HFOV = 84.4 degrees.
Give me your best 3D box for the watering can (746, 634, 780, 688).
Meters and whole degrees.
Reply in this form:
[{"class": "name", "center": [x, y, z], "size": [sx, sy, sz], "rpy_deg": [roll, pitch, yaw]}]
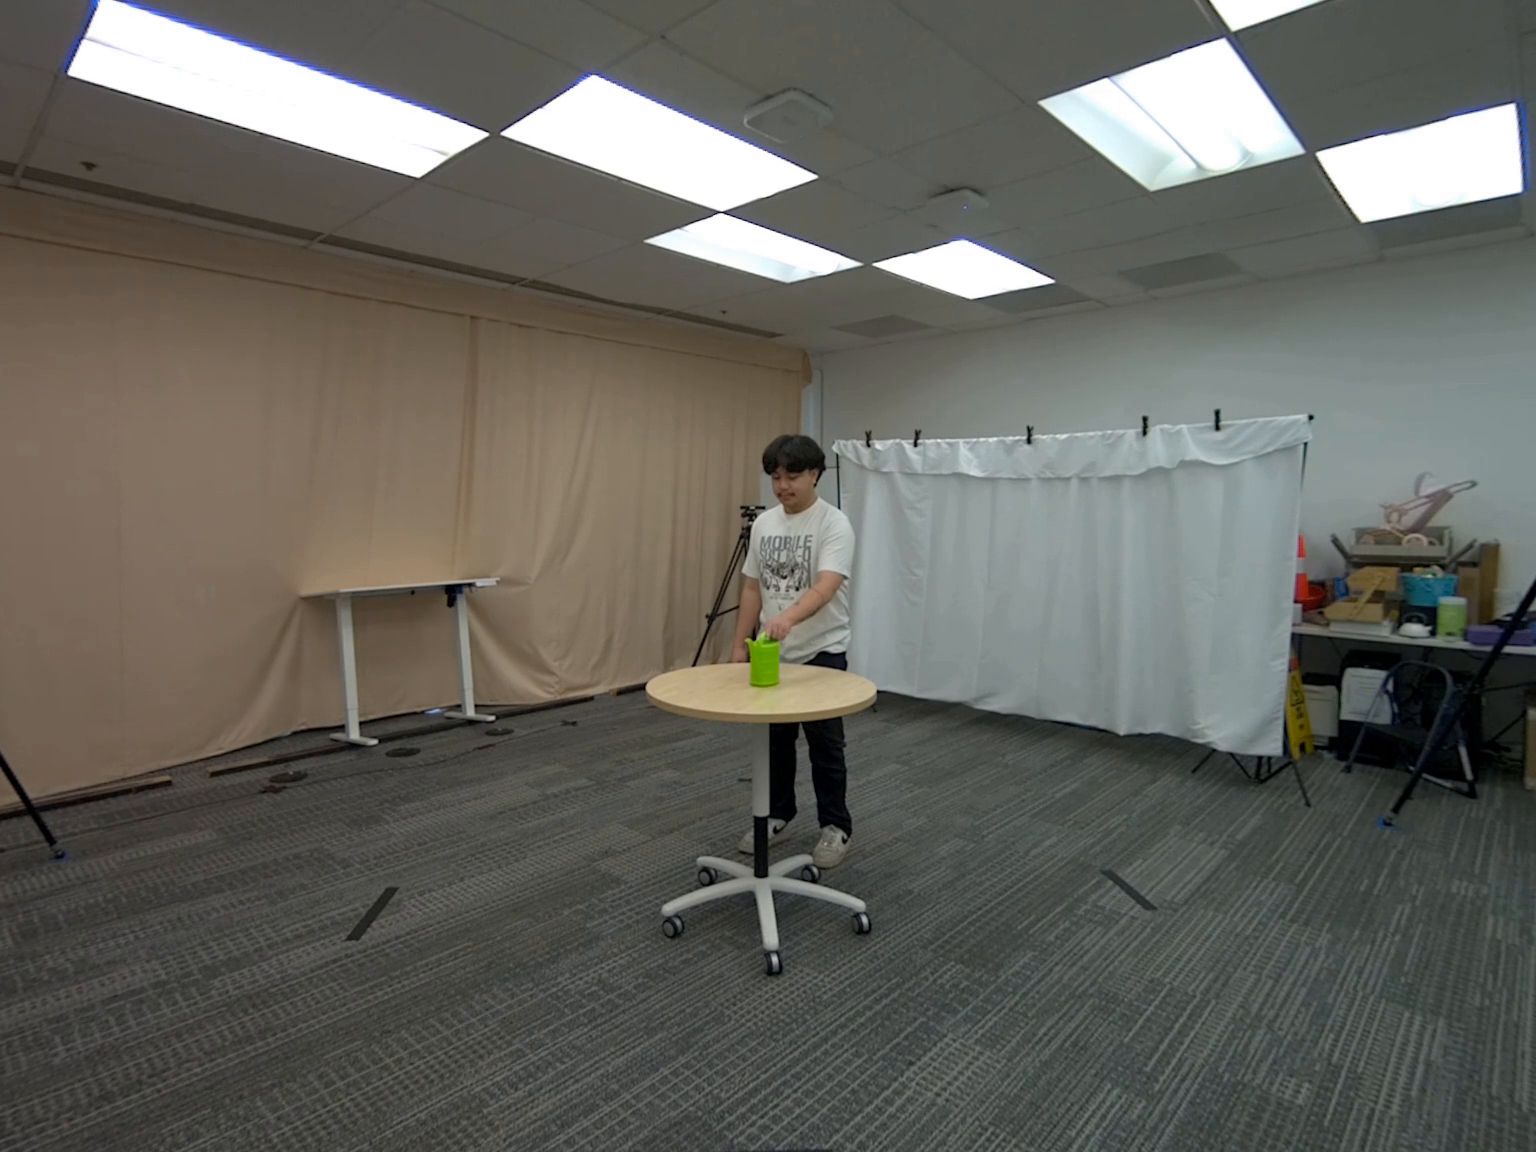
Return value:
[{"class": "watering can", "center": [-0.031, 0.270, 2.810], "size": [0.101, 0.177, 0.270], "rpy_deg": [3, 2, 35]}]
